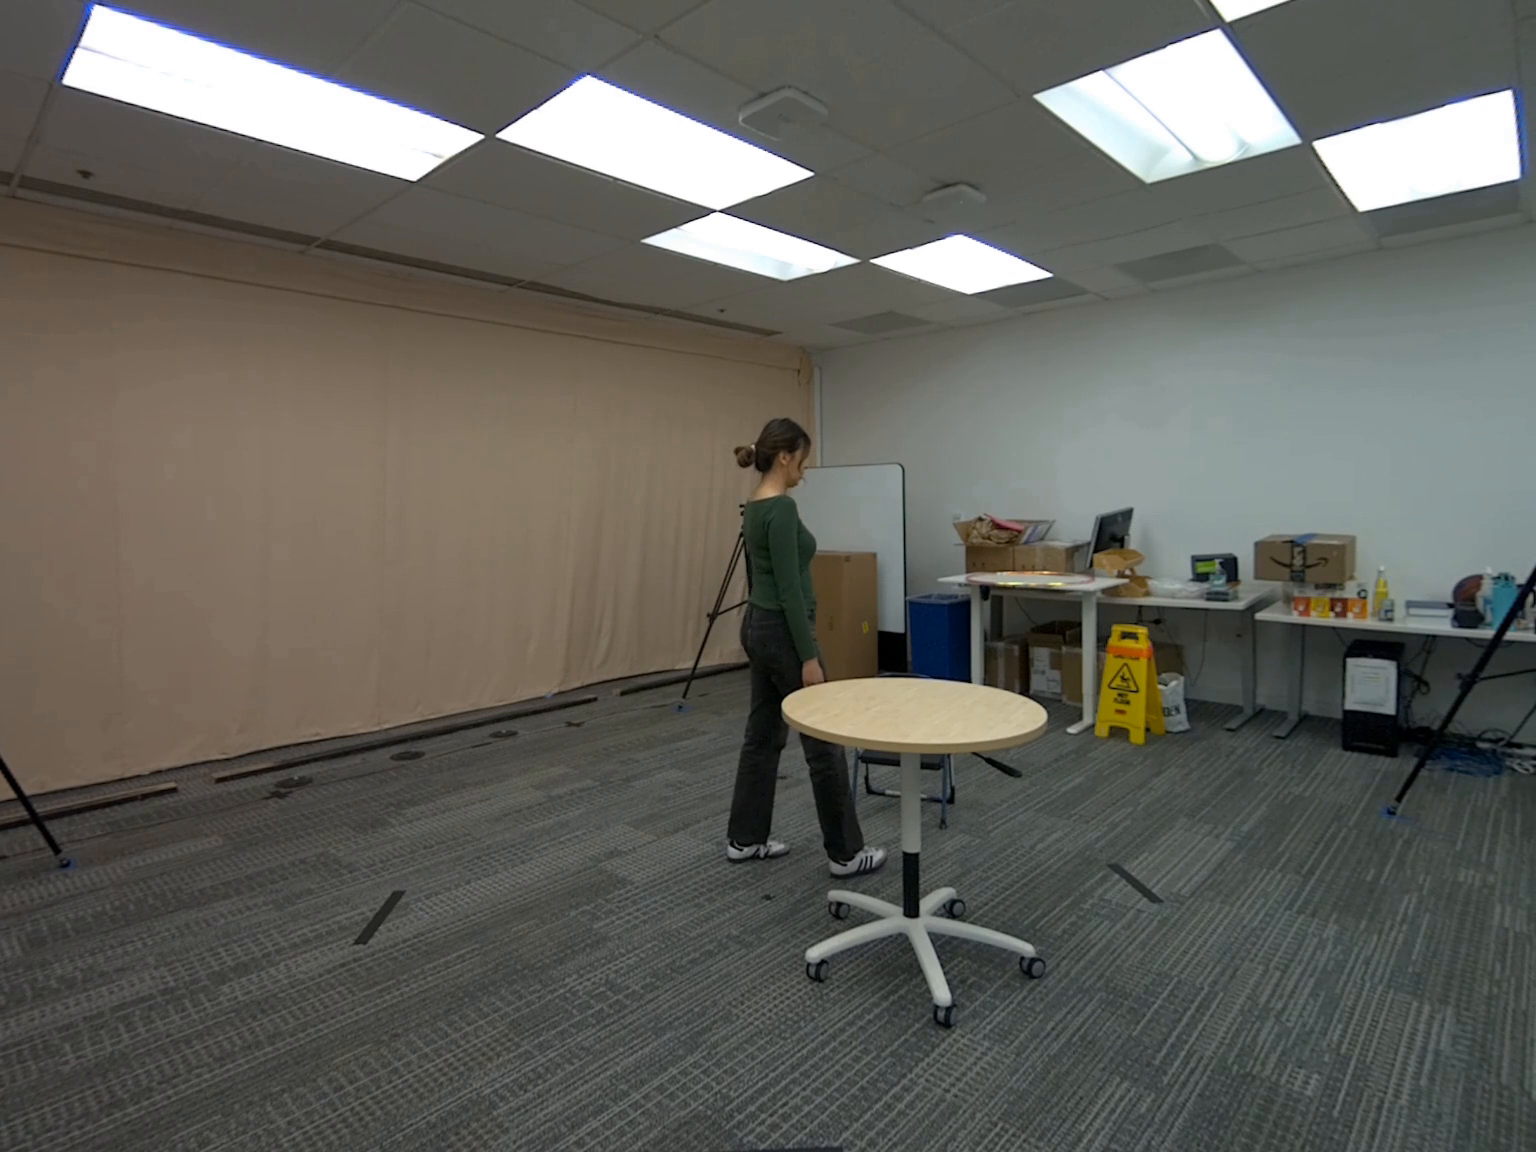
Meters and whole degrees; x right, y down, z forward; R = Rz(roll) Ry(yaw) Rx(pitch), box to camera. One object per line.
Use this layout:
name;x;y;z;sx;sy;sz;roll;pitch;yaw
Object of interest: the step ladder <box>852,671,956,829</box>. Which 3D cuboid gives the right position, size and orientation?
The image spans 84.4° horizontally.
step ladder;0.620;0.757;3.811;0.440;0.605;0.342;0;3;21
